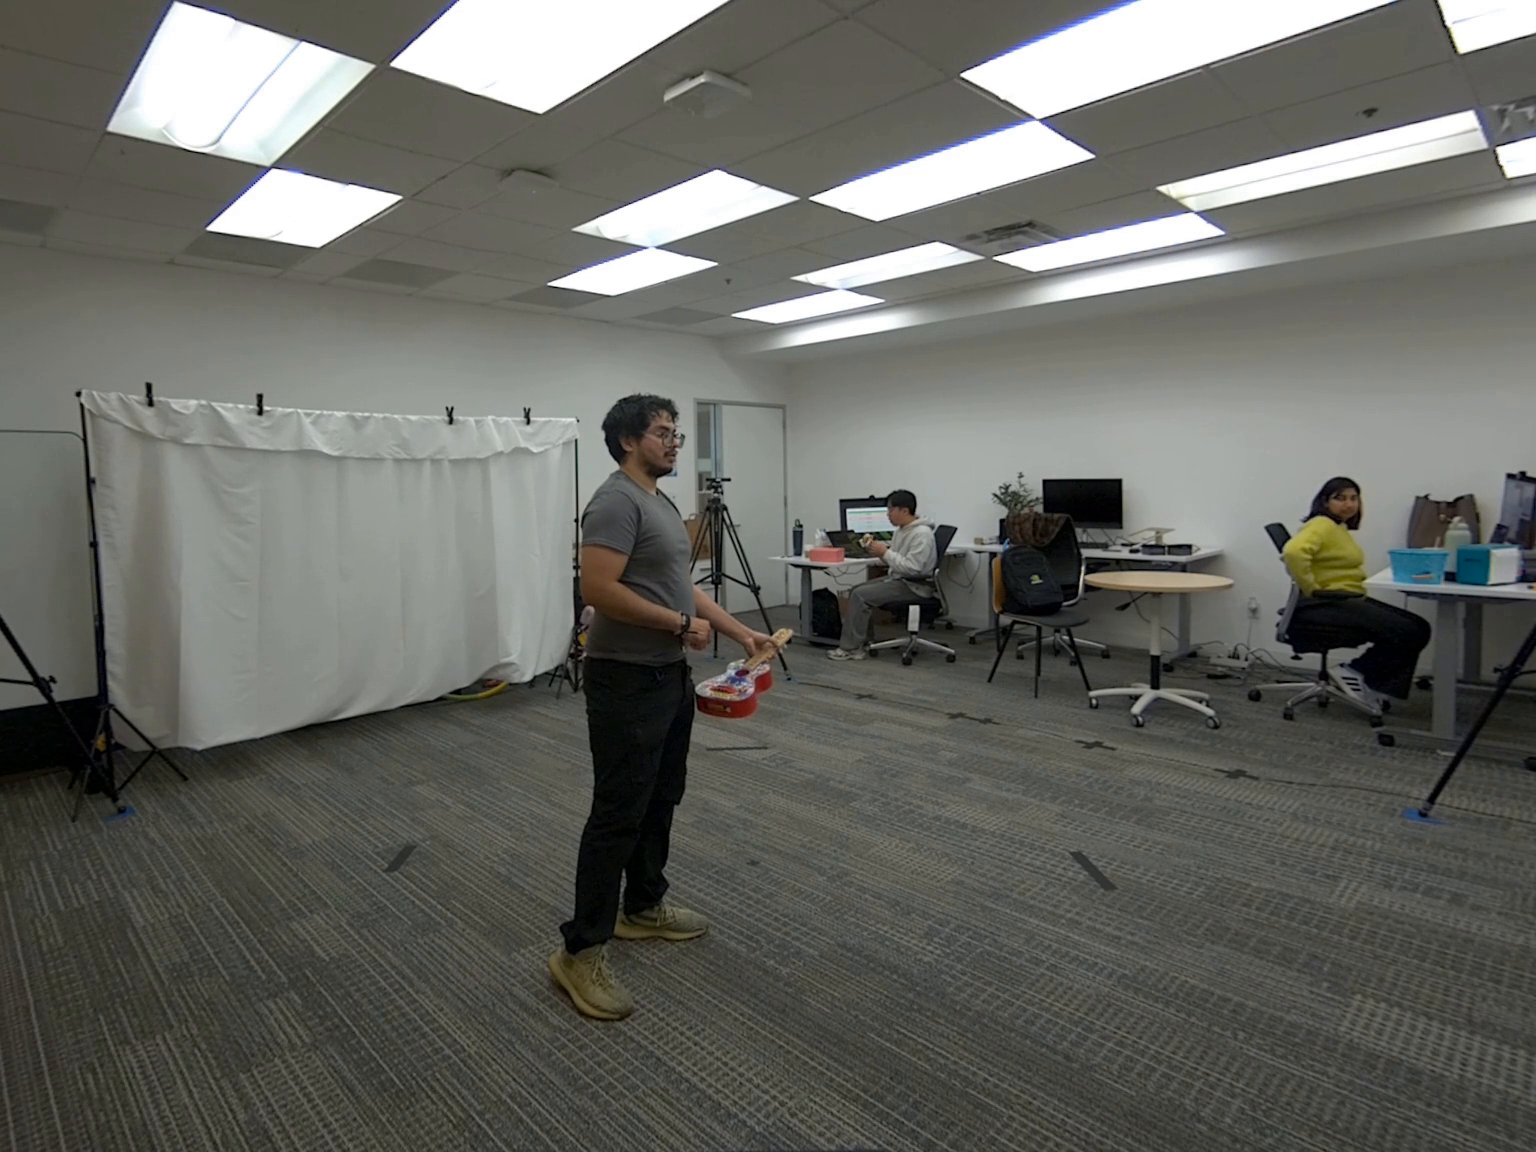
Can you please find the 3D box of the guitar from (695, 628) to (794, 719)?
[{"bbox_3d":[-0.024,0.309,2.720,0.199,0.069,0.491,7,25,38],"label":"guitar"}]
